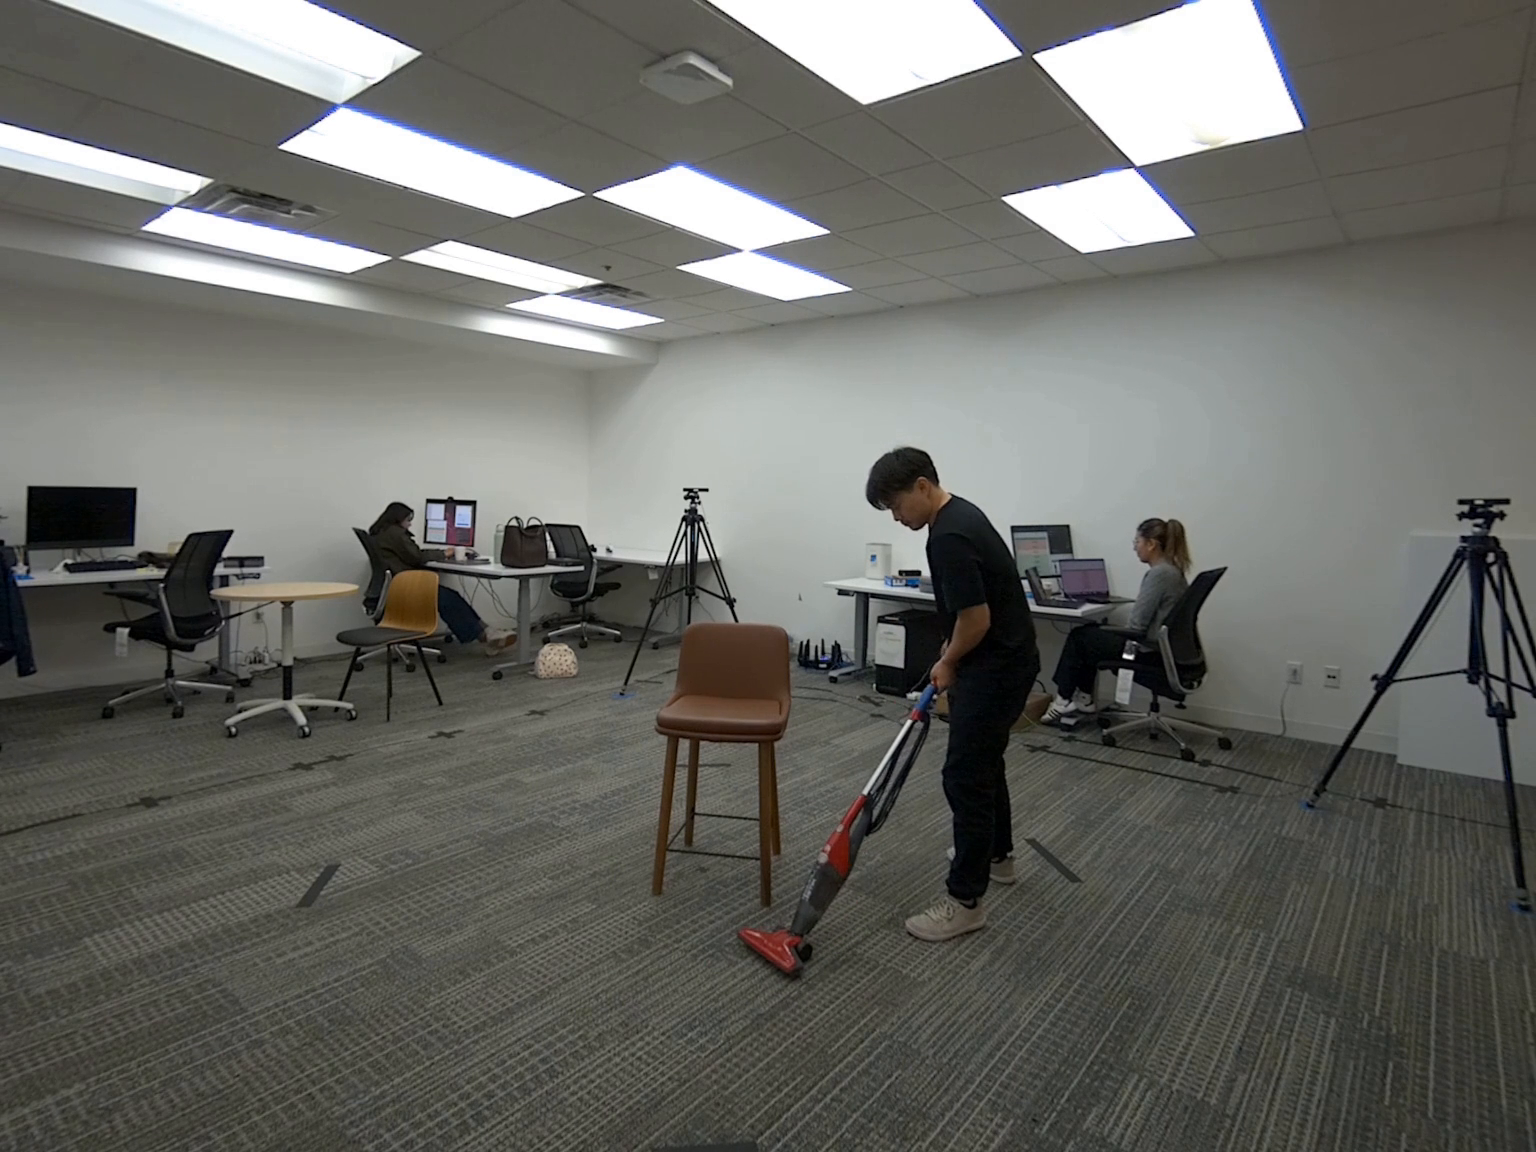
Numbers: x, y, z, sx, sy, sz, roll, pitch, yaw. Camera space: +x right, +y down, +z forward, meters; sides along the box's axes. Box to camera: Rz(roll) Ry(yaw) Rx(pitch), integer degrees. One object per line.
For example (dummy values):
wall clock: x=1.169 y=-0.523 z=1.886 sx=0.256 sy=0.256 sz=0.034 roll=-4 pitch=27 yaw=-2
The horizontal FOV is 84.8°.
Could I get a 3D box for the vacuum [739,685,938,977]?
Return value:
vacuum: x=0.332 y=0.727 z=2.727 sx=0.262 sy=1.051 sz=0.138 roll=15 pitch=-32 yaw=44
